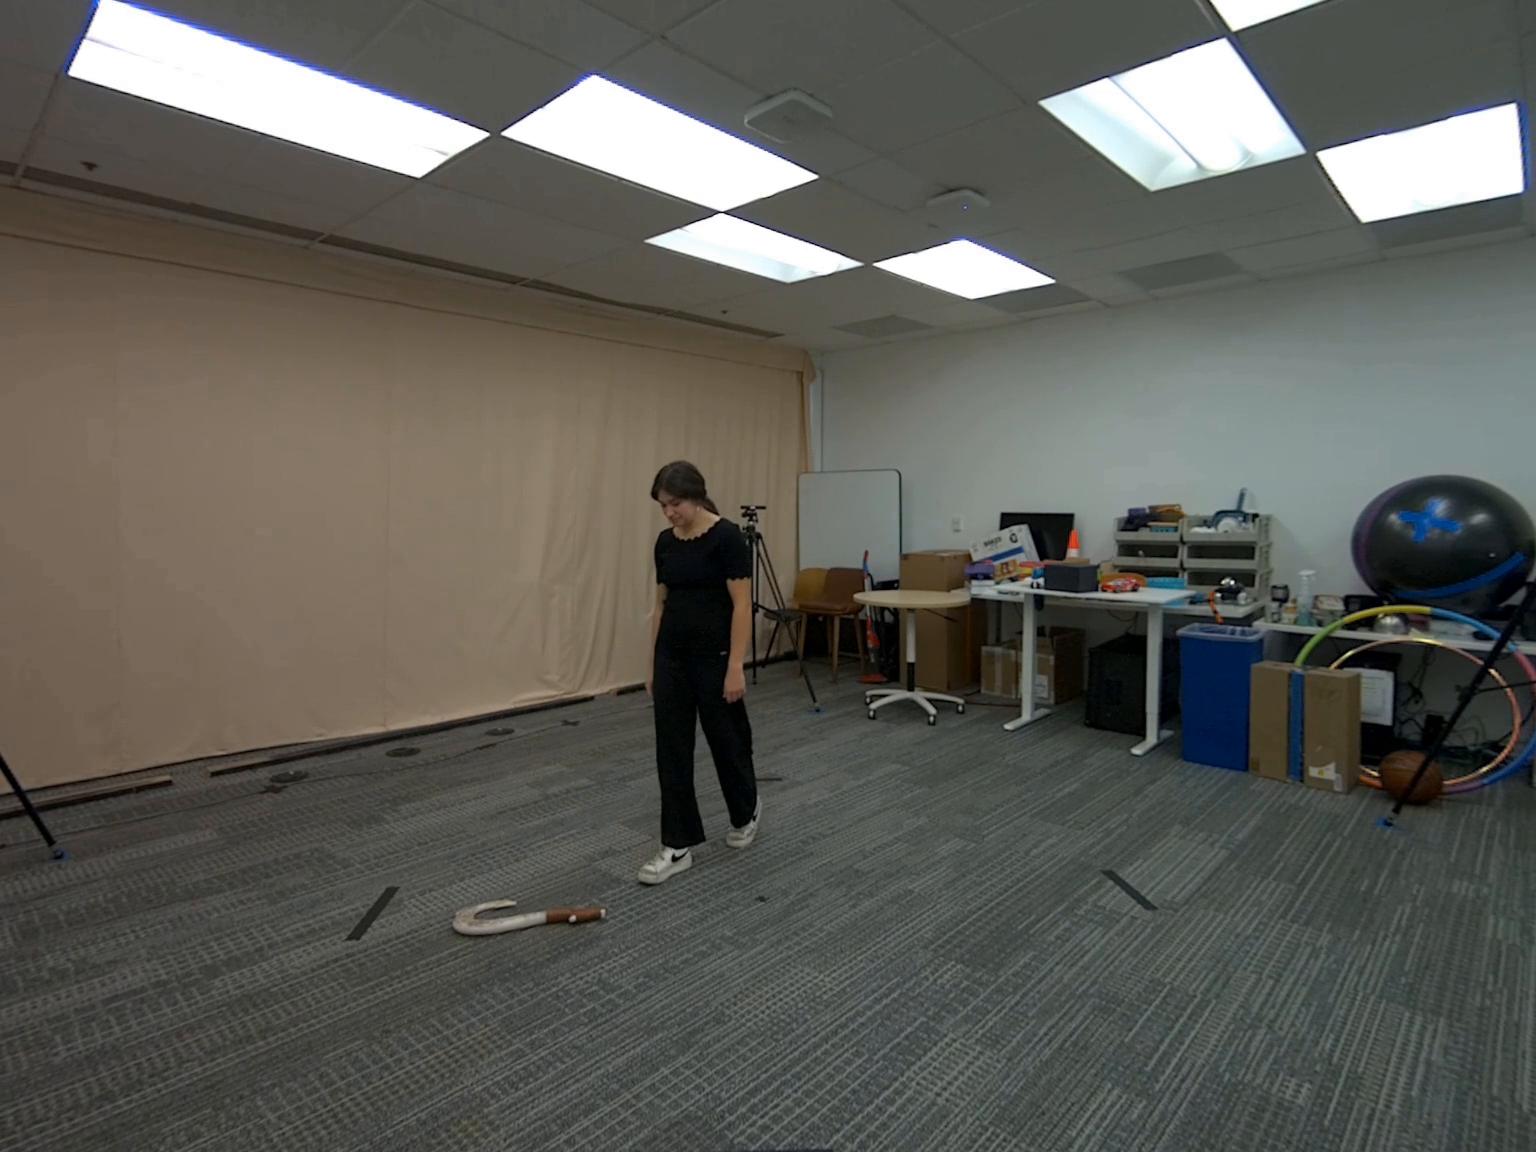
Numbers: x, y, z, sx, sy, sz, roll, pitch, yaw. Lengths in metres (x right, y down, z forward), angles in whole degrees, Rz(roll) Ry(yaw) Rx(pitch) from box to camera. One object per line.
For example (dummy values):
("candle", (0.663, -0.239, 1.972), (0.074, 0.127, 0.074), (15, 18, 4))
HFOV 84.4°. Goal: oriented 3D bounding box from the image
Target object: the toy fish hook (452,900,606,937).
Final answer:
("toy fish hook", (-0.803, 1.138, 2.851), (0.502, 0.048, 0.227), (-1, 6, -9))
